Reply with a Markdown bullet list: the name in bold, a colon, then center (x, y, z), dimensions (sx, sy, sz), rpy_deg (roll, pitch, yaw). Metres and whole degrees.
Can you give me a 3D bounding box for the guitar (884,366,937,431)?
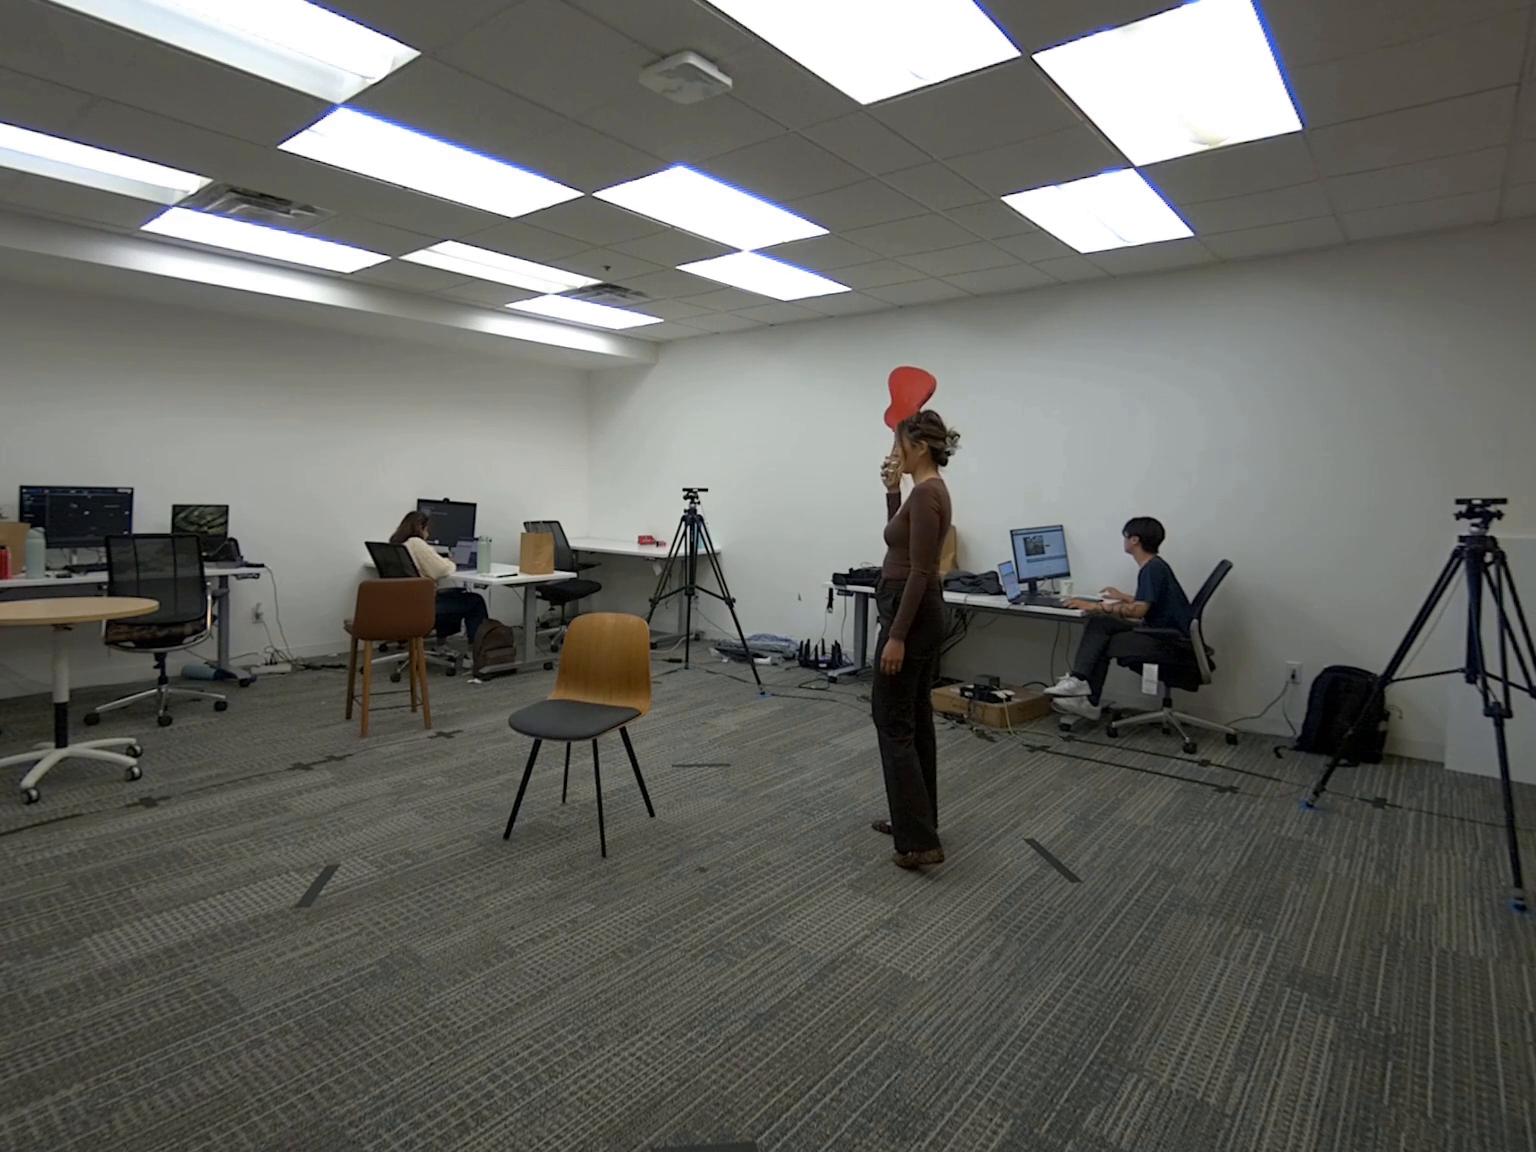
- **guitar**: center (0.576, -0.628, 3.570), dimensions (0.199, 0.497, 0.068), rpy_deg (8, 3, 33)
